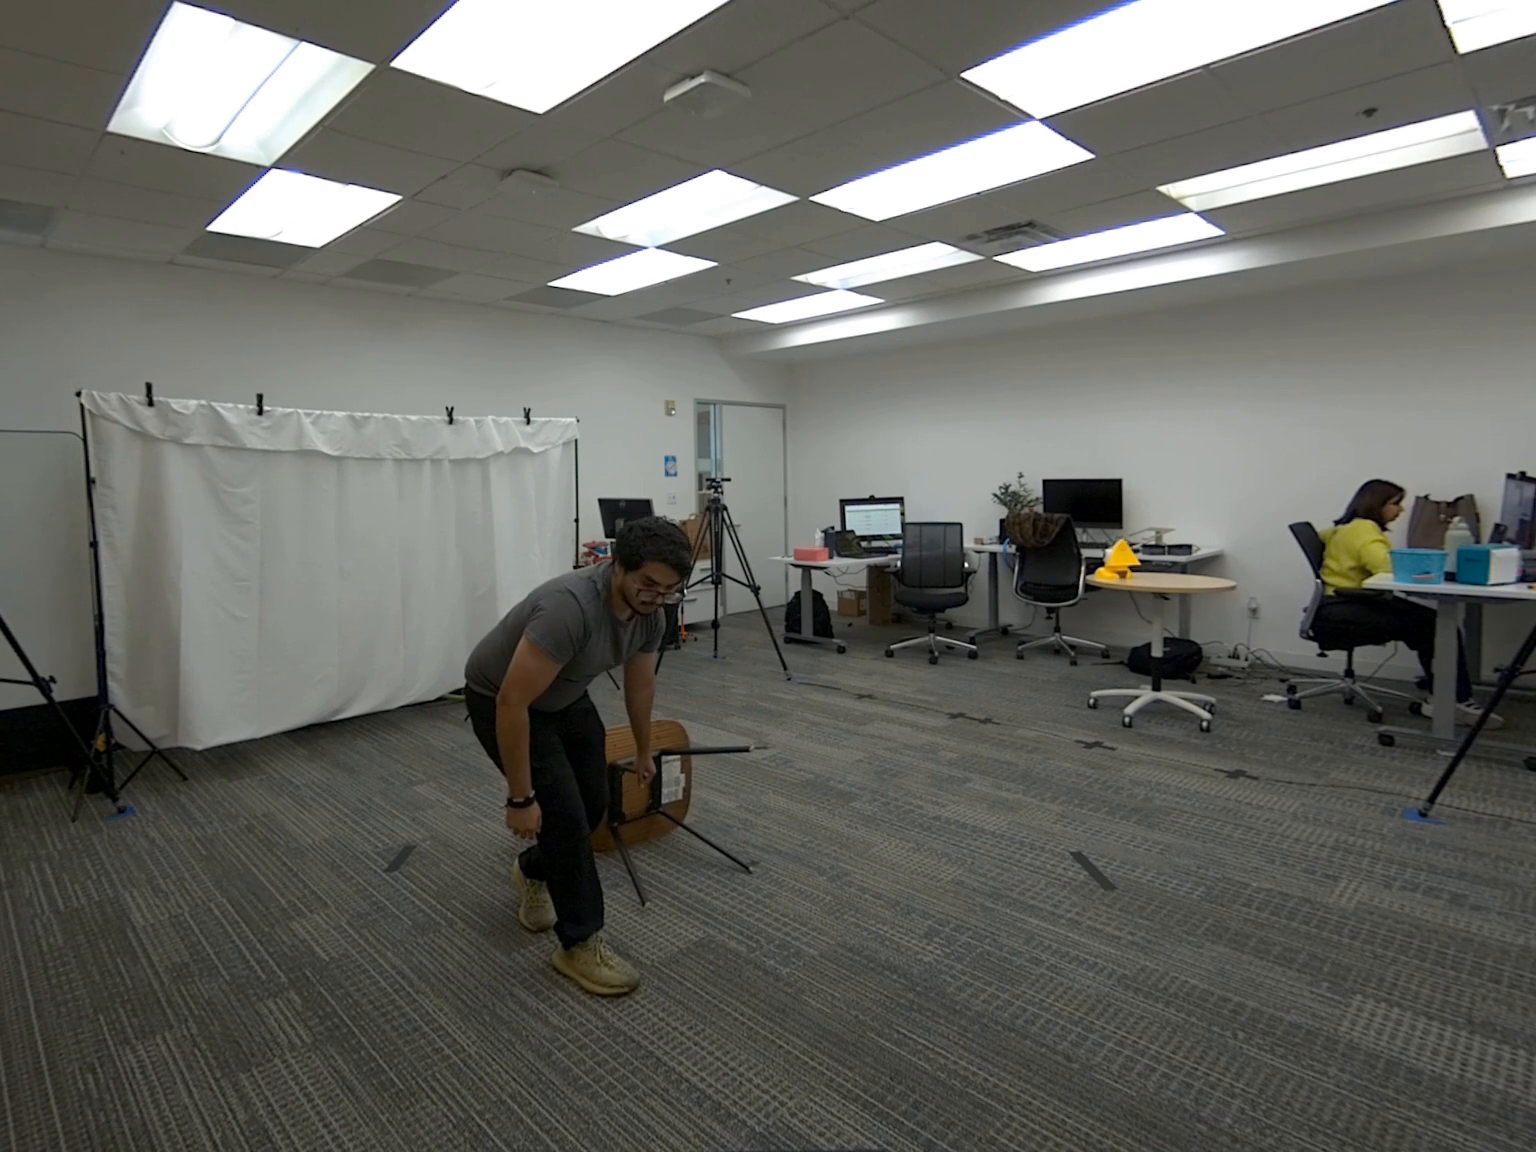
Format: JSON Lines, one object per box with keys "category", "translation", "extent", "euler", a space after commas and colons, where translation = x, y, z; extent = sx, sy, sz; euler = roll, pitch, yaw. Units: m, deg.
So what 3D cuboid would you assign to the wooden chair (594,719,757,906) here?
{"category": "wooden chair", "translation": [-0.489, 0.805, 3.220], "extent": [0.509, 0.476, 0.905], "euler": [-5, 7, -43]}
